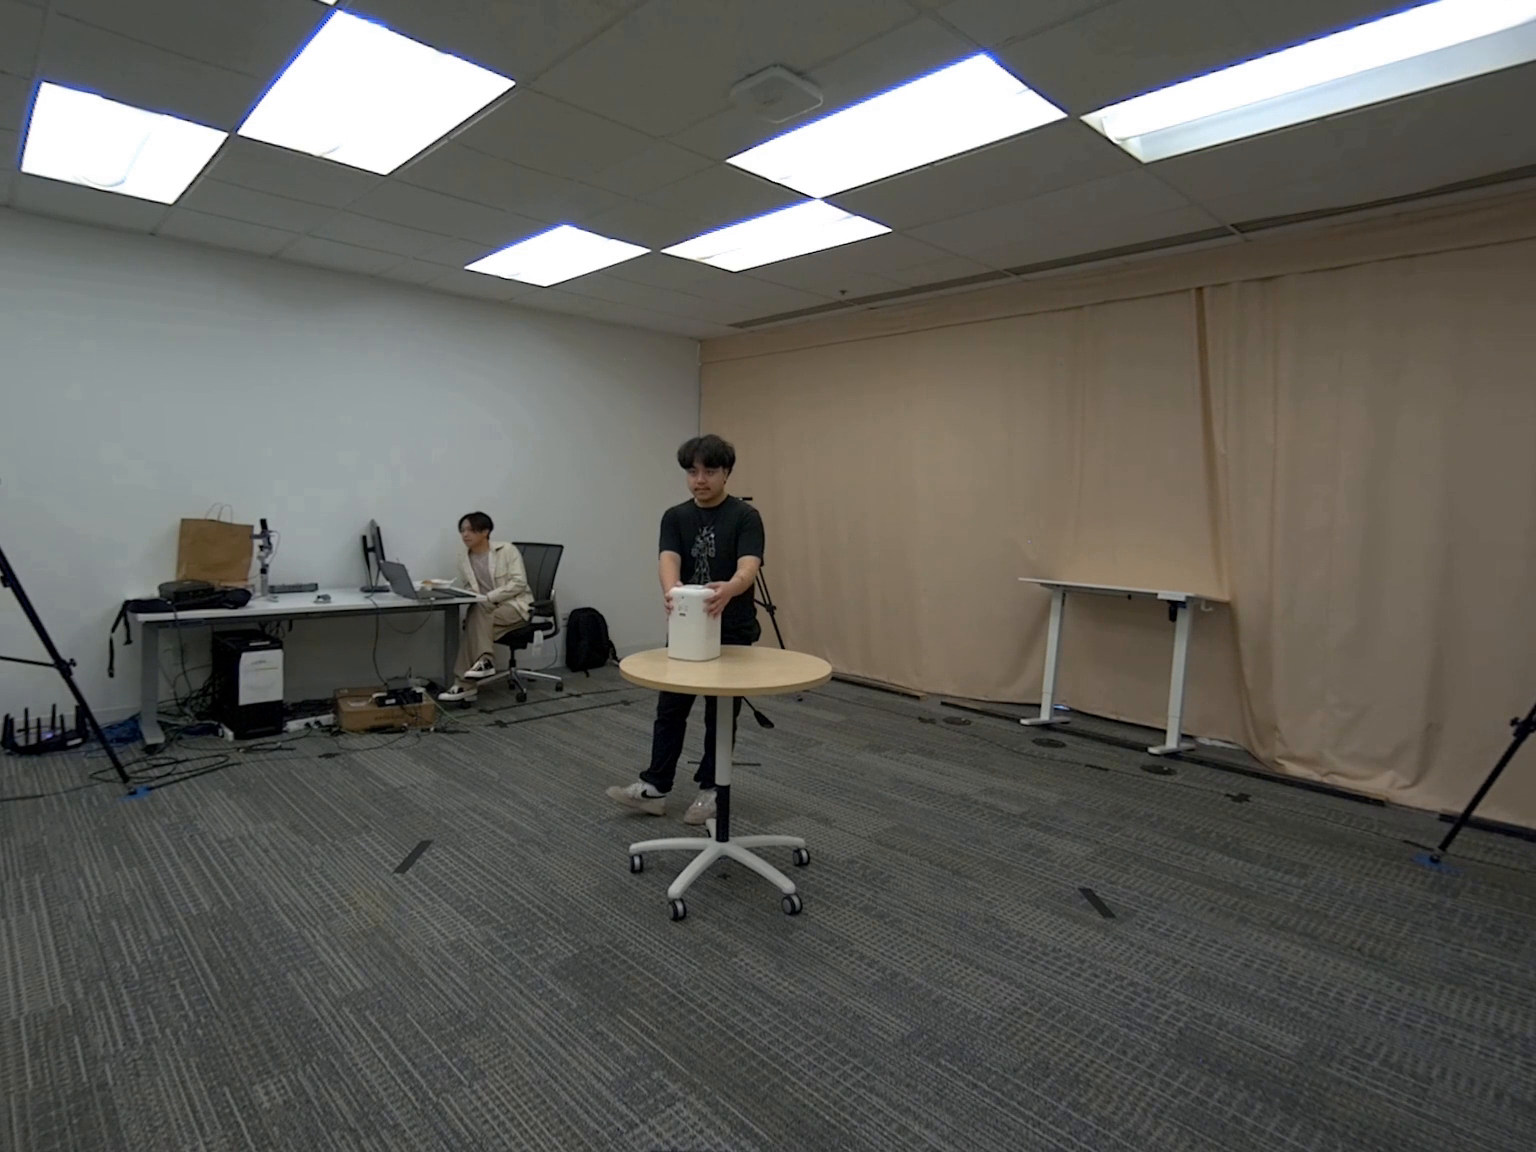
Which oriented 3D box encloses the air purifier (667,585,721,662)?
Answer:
[{"bbox_3d":[-0.286,0.176,3.163,0.175,0.265,0.168,2,4,29],"label":"air purifier"}]
